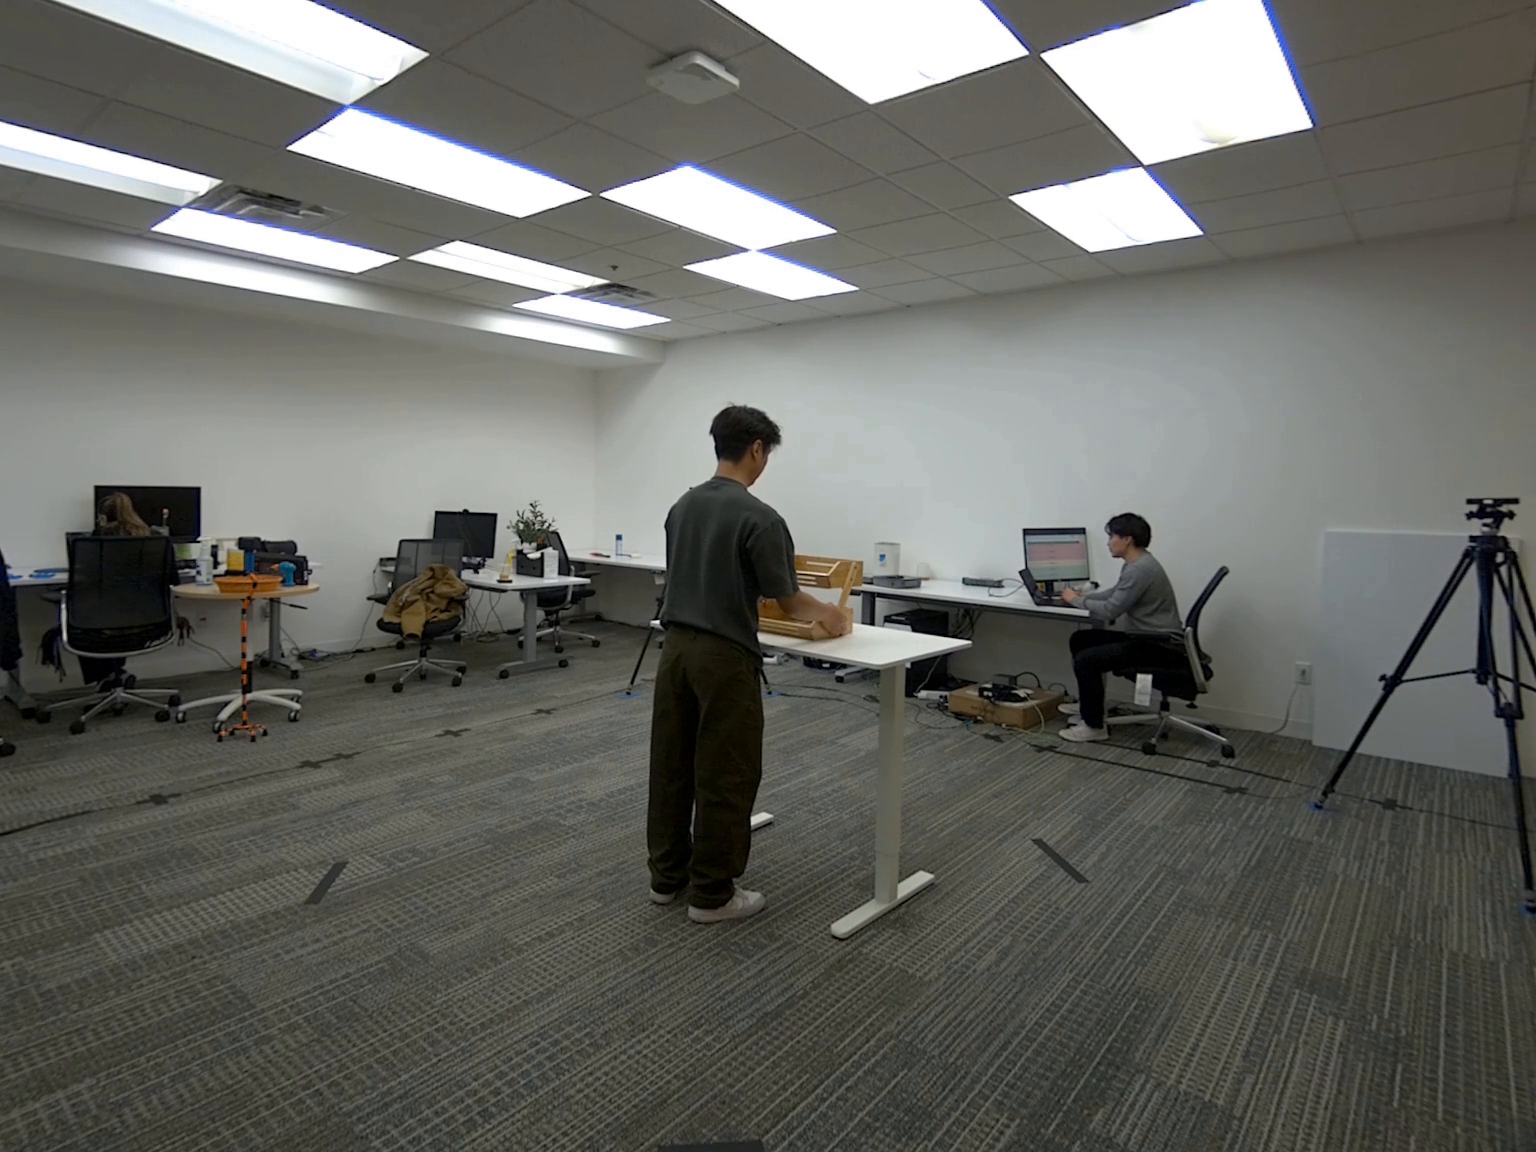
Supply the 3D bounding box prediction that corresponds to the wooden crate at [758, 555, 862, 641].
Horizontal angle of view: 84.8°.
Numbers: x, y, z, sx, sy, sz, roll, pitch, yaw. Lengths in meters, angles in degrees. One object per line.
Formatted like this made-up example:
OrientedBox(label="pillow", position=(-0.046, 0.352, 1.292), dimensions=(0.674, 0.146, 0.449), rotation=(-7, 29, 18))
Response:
OrientedBox(label="wooden crate", position=(0.119, 0.064, 3.063), dimensions=(0.336, 0.272, 0.293), rotation=(6, 6, 40))
